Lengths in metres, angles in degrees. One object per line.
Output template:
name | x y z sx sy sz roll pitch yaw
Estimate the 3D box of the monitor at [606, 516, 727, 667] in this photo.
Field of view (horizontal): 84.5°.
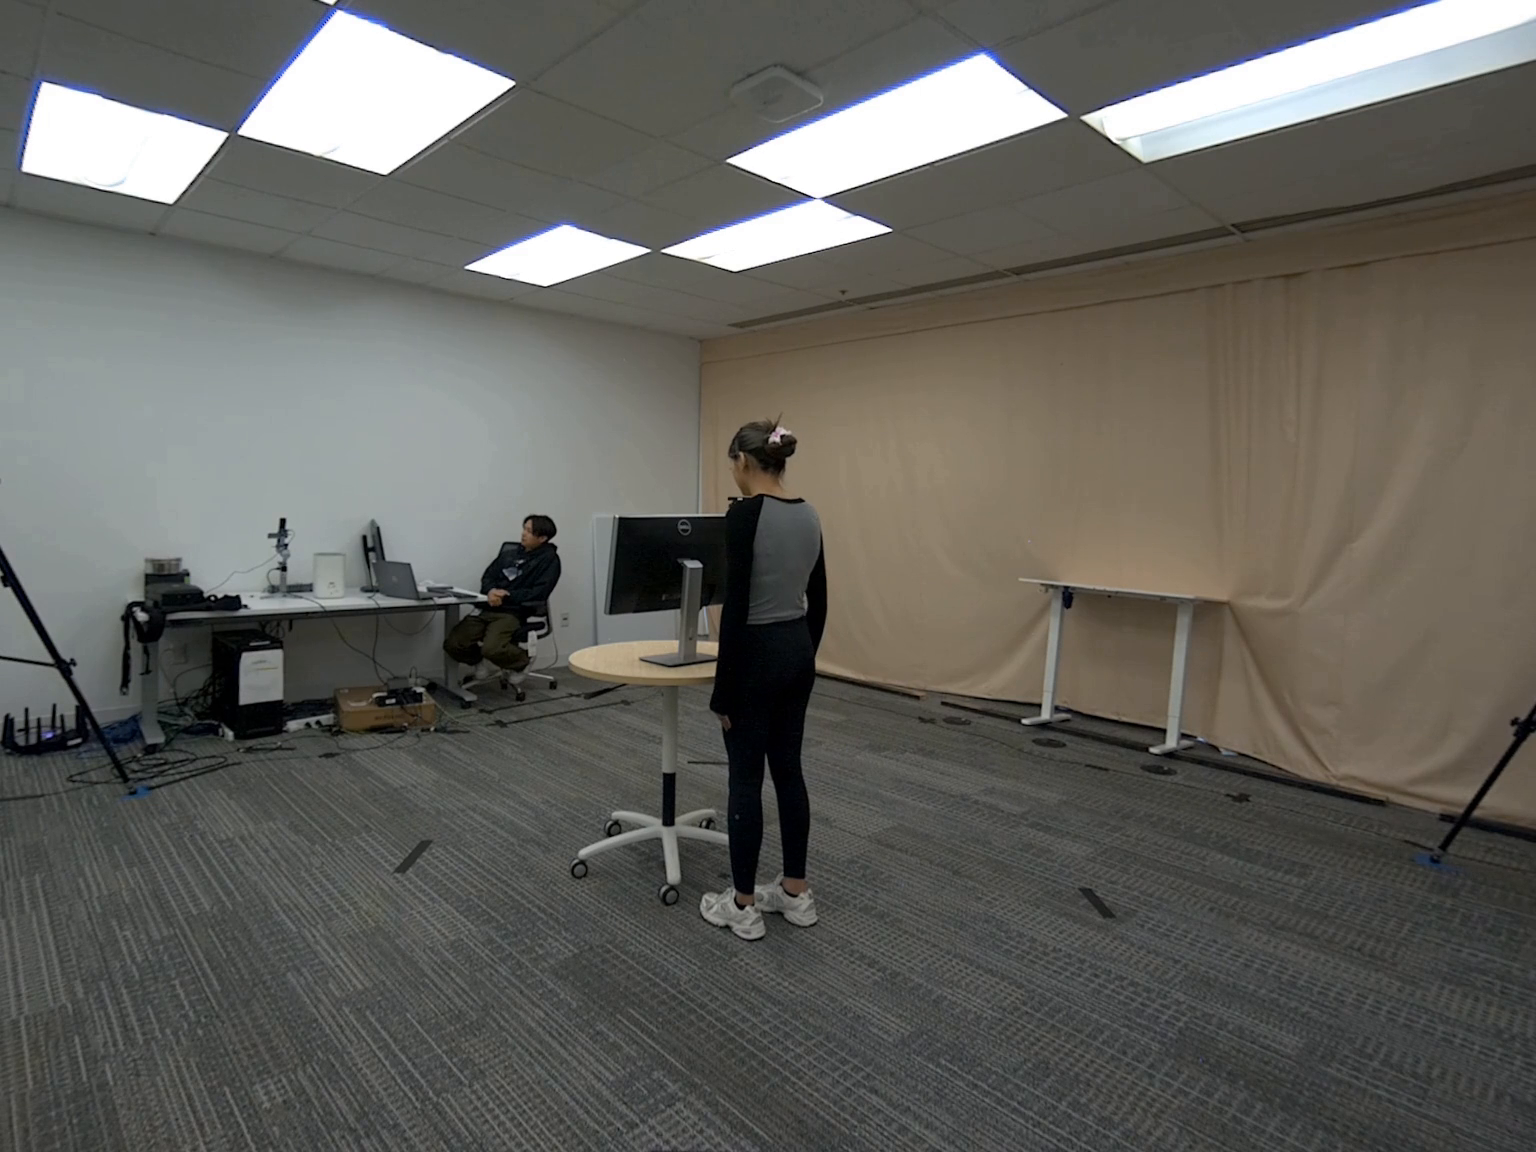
monitor | -0.329 0.049 3.108 0.527 0.522 0.191 -3 3 -43
